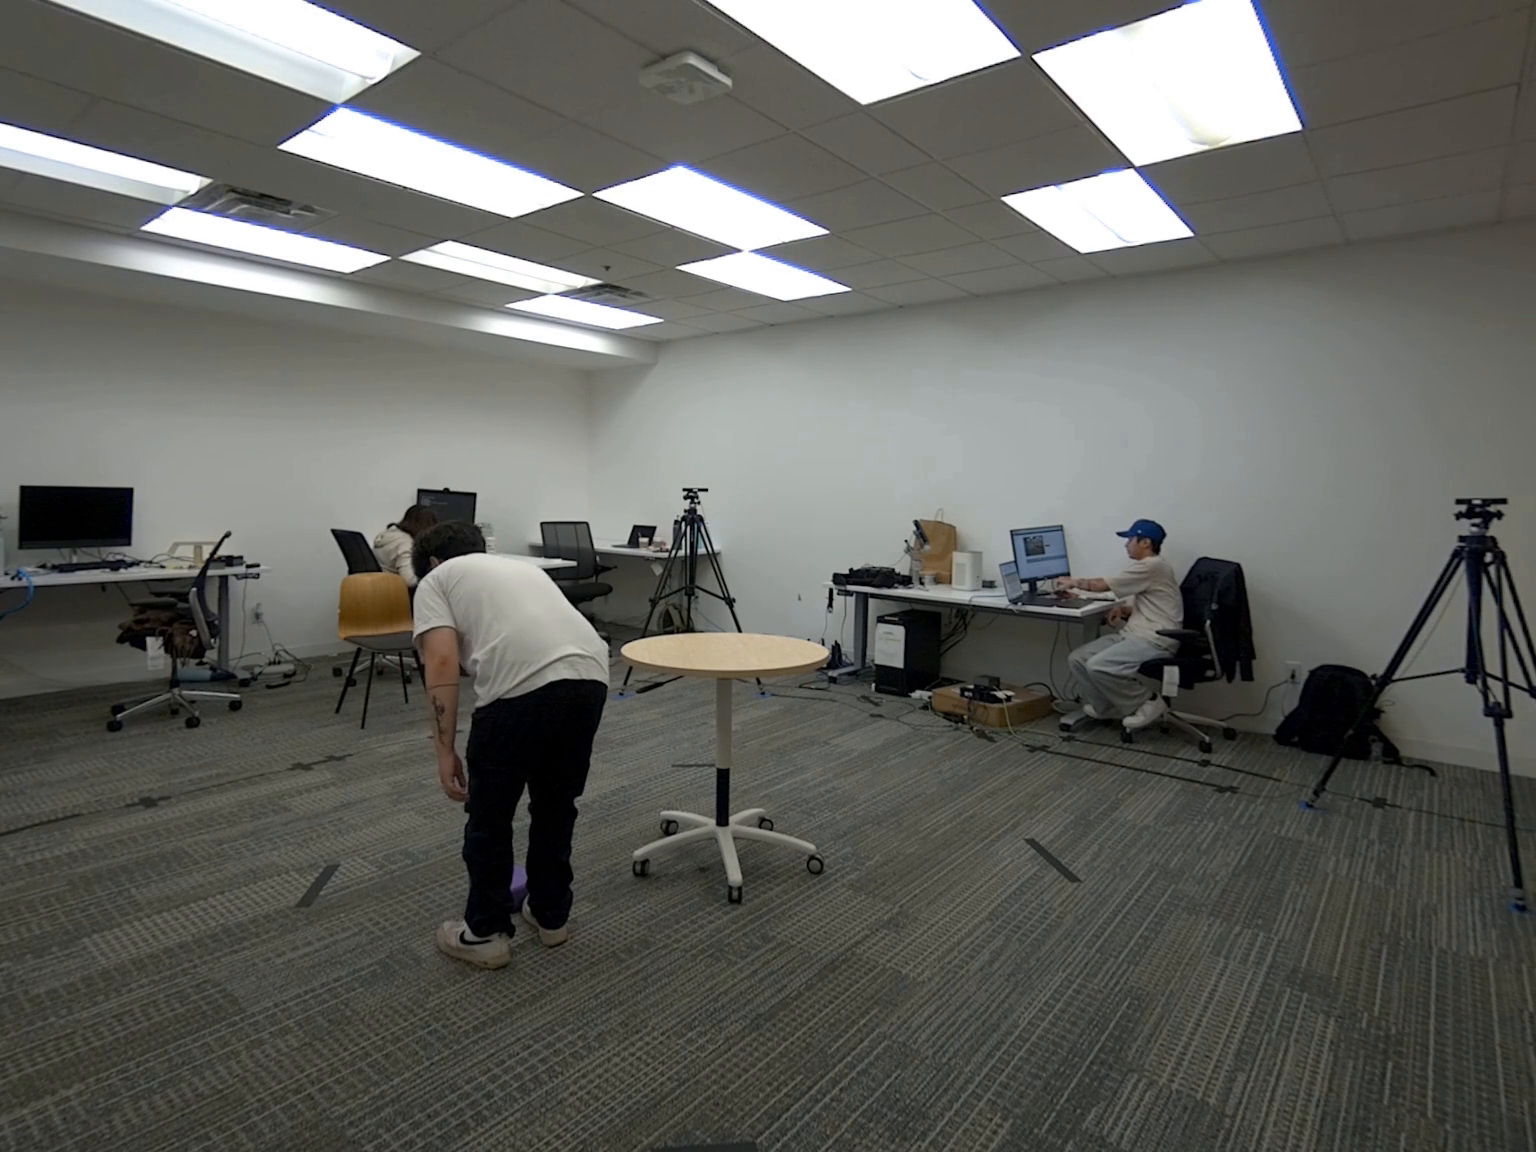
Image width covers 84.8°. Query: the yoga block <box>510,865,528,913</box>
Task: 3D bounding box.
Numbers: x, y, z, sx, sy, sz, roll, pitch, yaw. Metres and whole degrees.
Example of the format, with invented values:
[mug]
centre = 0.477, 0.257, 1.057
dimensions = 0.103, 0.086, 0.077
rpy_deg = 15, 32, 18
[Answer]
[yoga block]
centre = -0.892, 1.038, 2.874
dimensions = 0.237, 0.076, 0.145
rpy_deg = 4, 5, 37
